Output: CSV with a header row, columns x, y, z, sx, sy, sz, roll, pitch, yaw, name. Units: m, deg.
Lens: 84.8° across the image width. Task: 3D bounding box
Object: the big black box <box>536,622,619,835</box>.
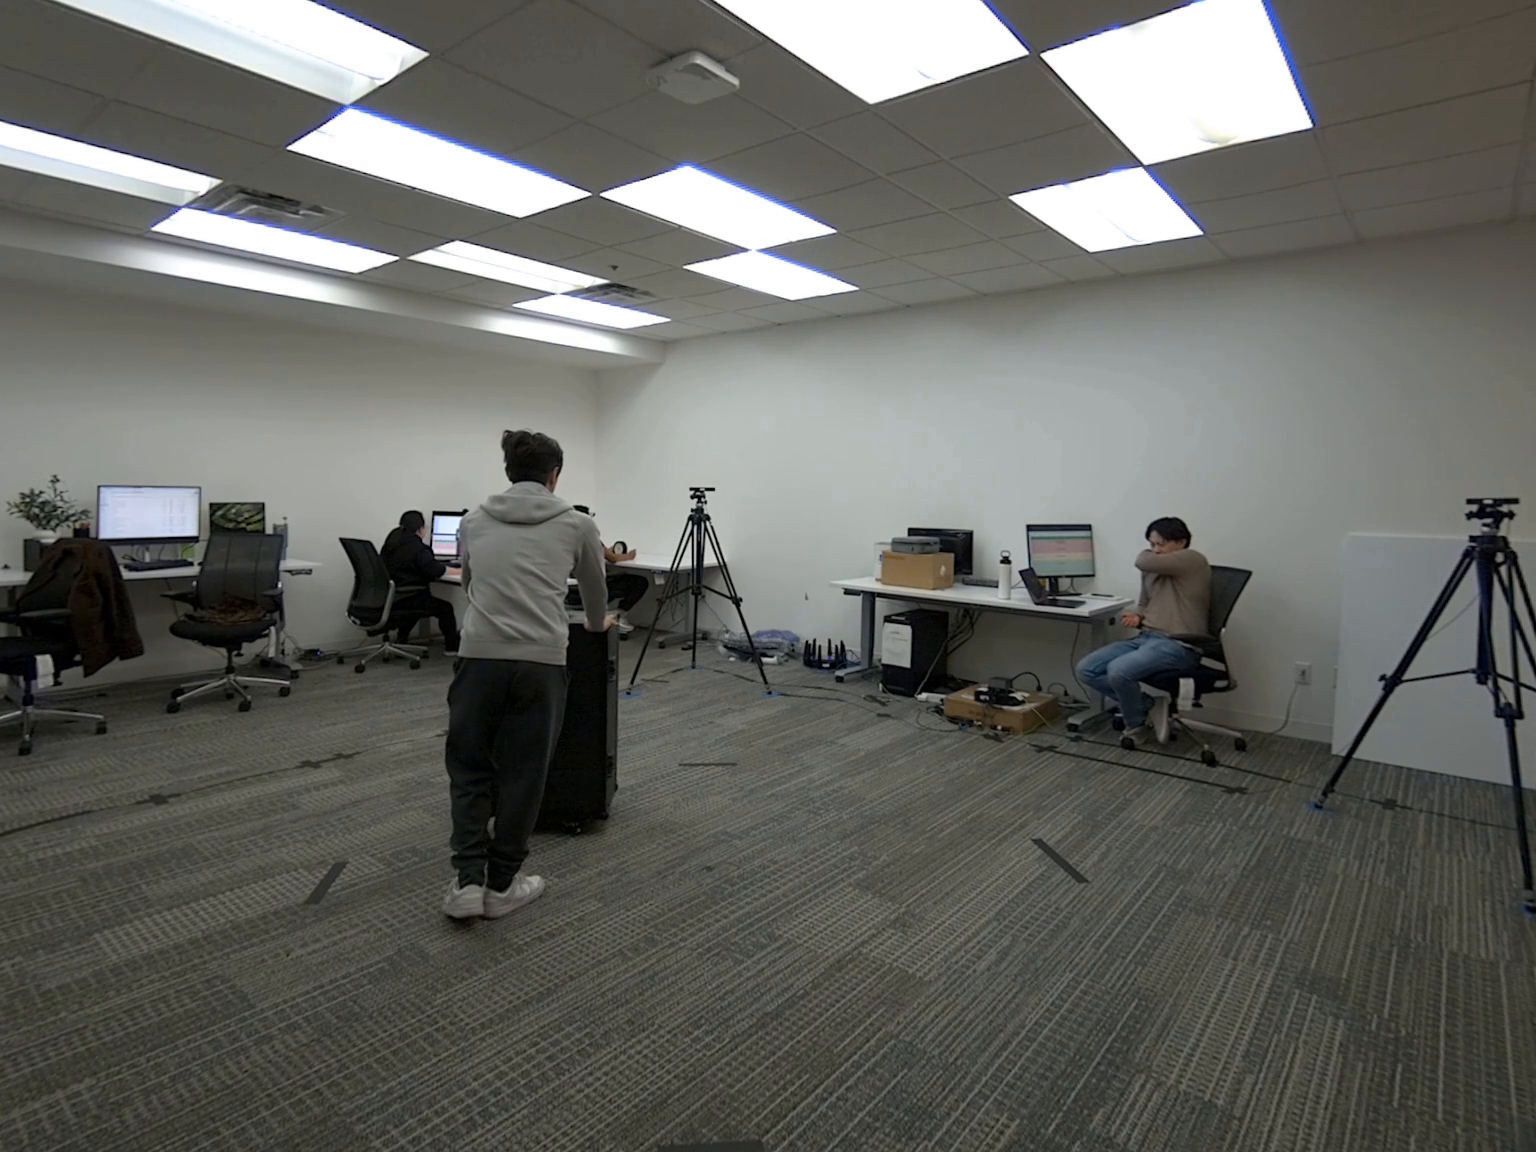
x,y,z,sx,sy,sz,roll,pitch,yaw,name
-0.900,0.594,3.540,0.521,0.860,0.397,0,2,-1,big black box
